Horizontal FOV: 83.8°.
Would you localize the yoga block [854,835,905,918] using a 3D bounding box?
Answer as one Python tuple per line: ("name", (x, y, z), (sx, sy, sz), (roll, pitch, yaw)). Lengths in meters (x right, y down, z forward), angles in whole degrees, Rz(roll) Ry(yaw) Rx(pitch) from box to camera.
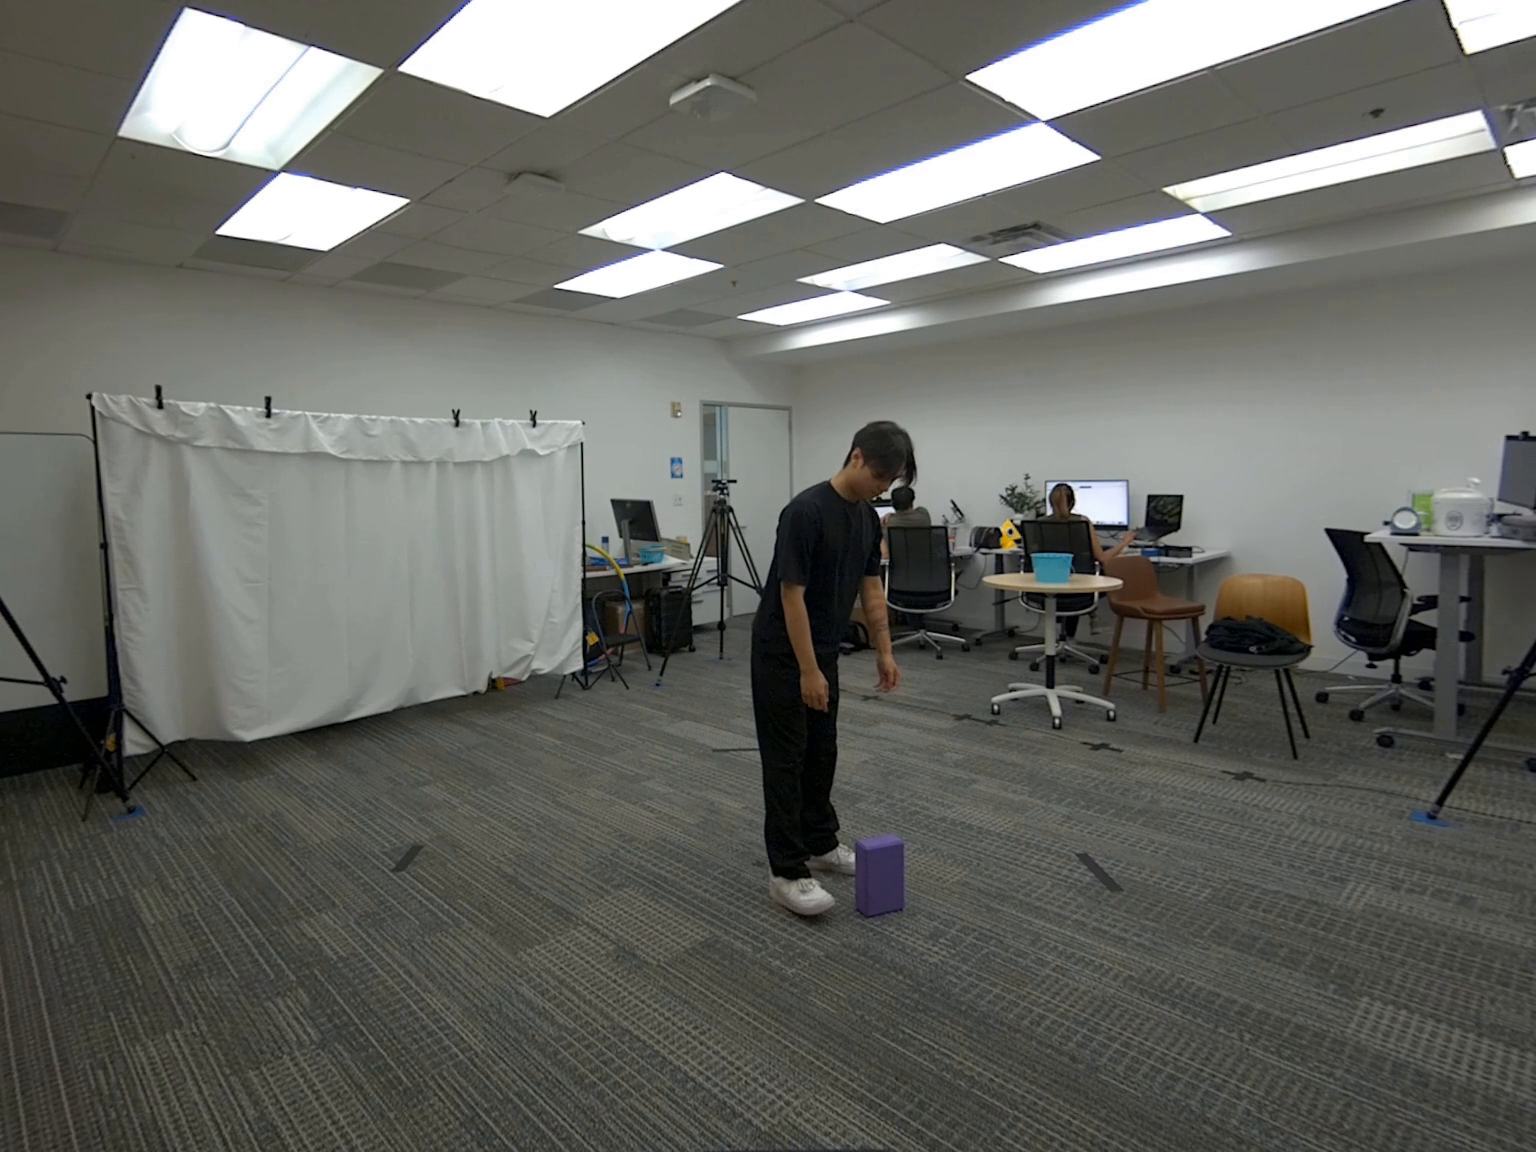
("yoga block", (0.359, 0.959, 2.756), (0.146, 0.229, 0.078), (-1, 3, -21))
